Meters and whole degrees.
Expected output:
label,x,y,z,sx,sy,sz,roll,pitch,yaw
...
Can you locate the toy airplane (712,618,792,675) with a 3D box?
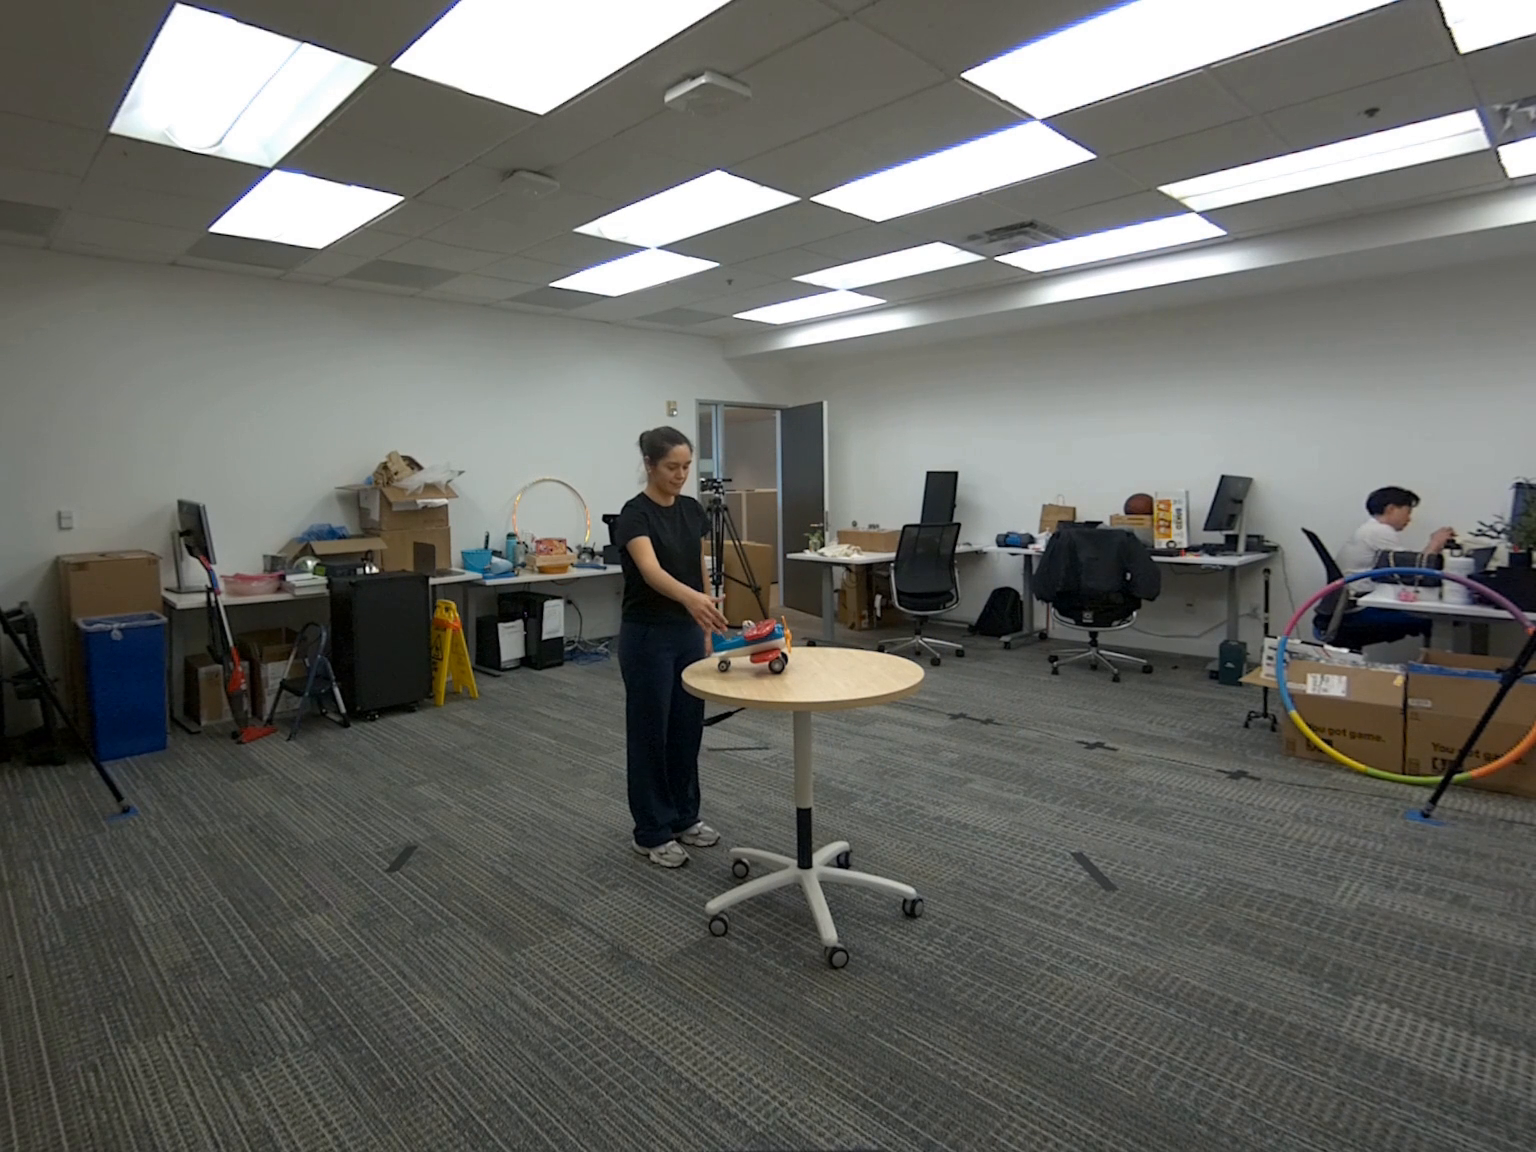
label,x,y,z,sx,sy,sz,roll,pitch,yaw
toy airplane,-0.045,0.229,2.733,0.254,0.156,0.257,-5,5,-23
